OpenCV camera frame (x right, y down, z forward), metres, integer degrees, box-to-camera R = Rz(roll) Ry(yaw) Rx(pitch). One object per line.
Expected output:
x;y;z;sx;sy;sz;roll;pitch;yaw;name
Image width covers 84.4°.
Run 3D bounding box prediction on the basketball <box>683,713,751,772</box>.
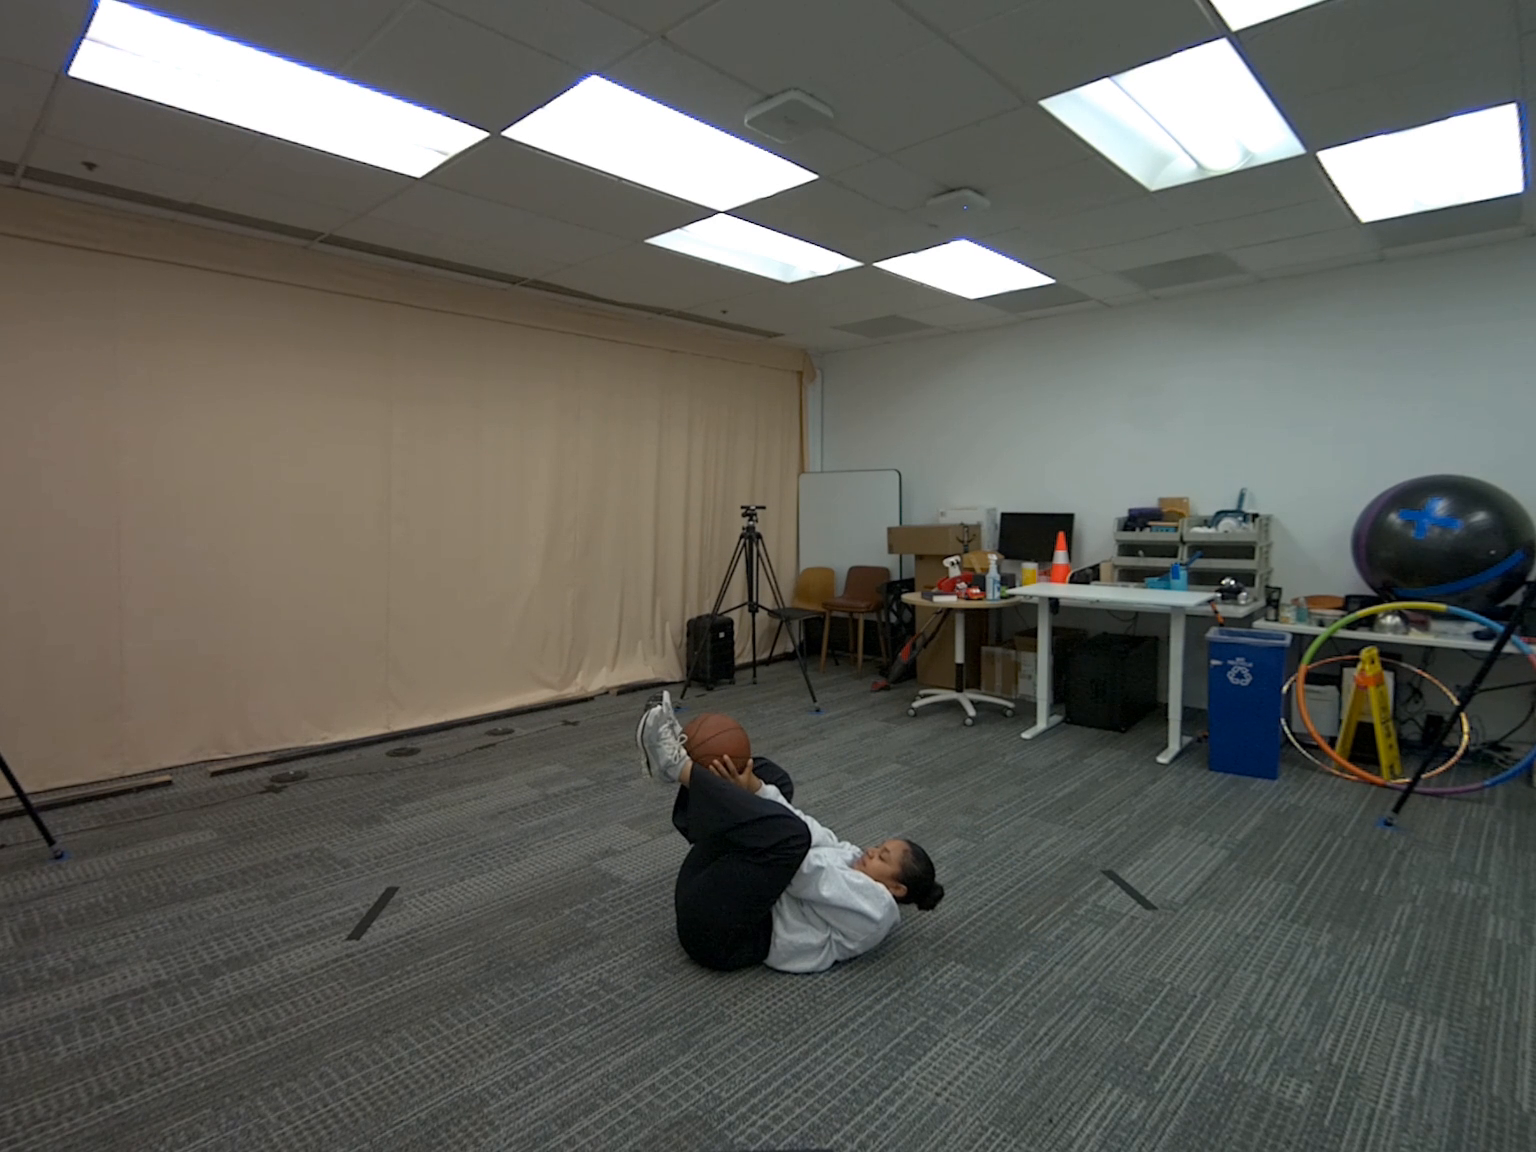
-0.172;0.553;2.636;0.236;0.235;0.237;0;4;-2;basketball
